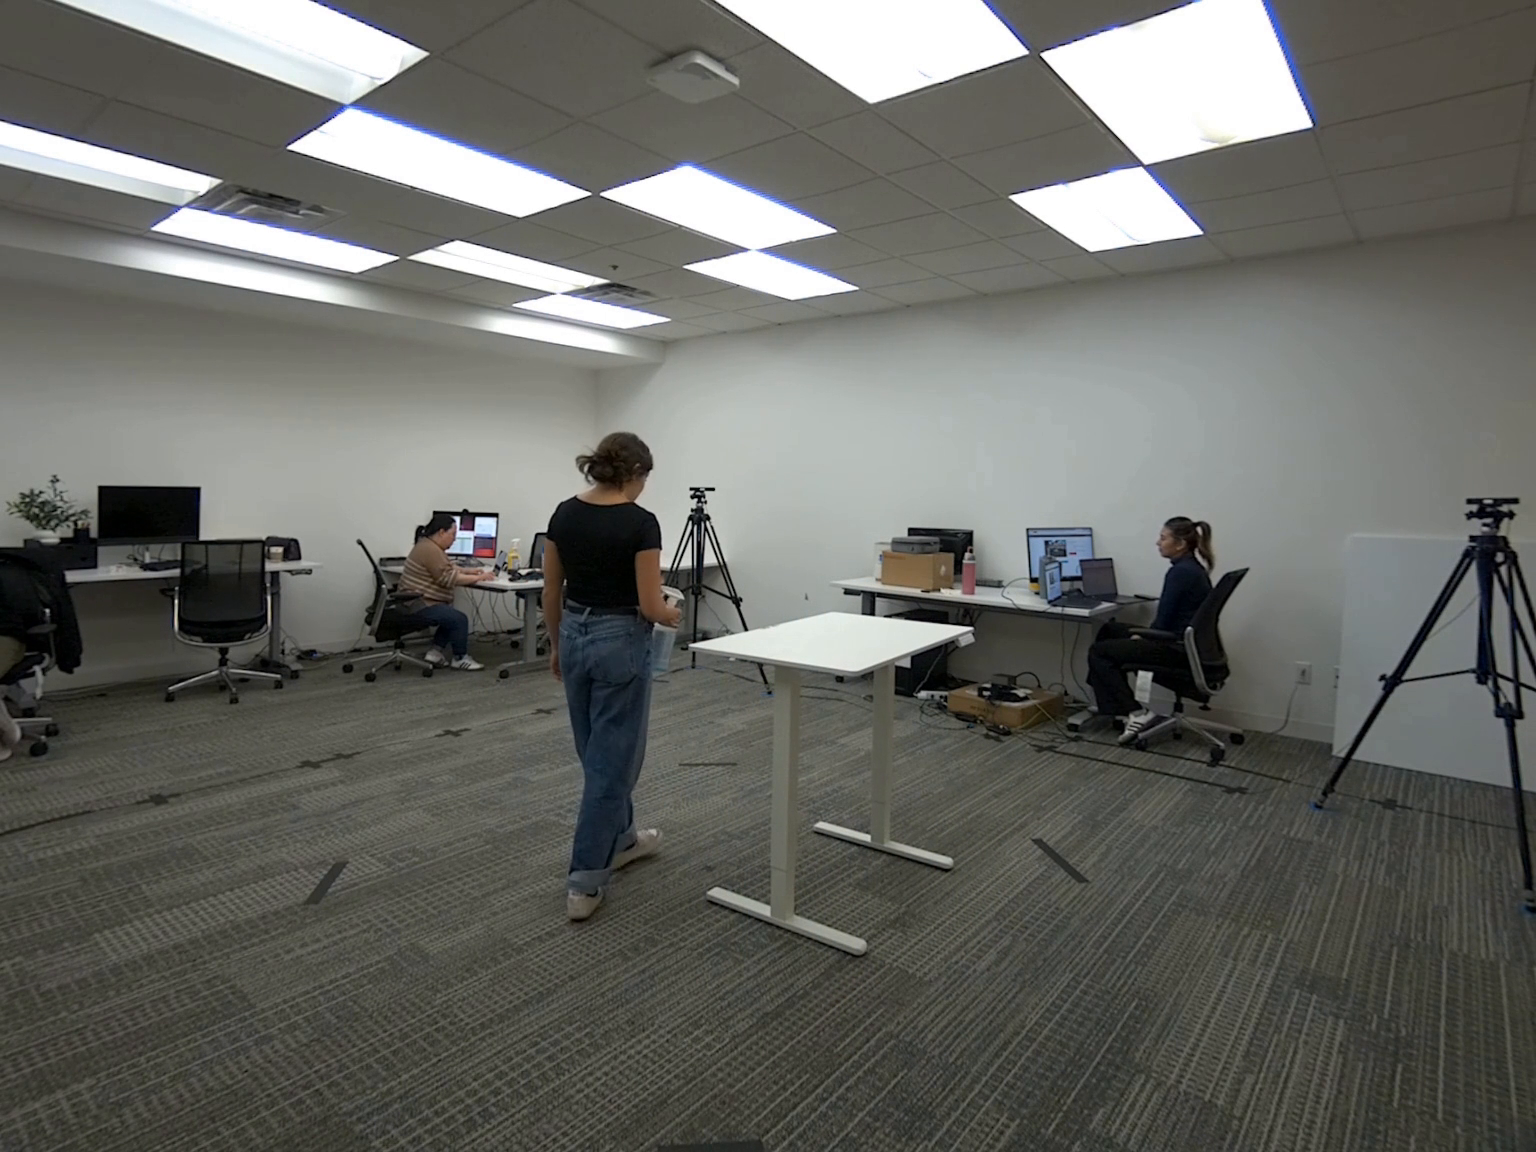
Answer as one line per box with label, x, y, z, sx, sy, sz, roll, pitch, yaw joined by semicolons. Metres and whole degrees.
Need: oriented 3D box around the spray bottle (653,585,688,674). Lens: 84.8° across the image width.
spray bottle;-0.372;0.188;3.033;0.091;0.298;0.086;9;-2;10
